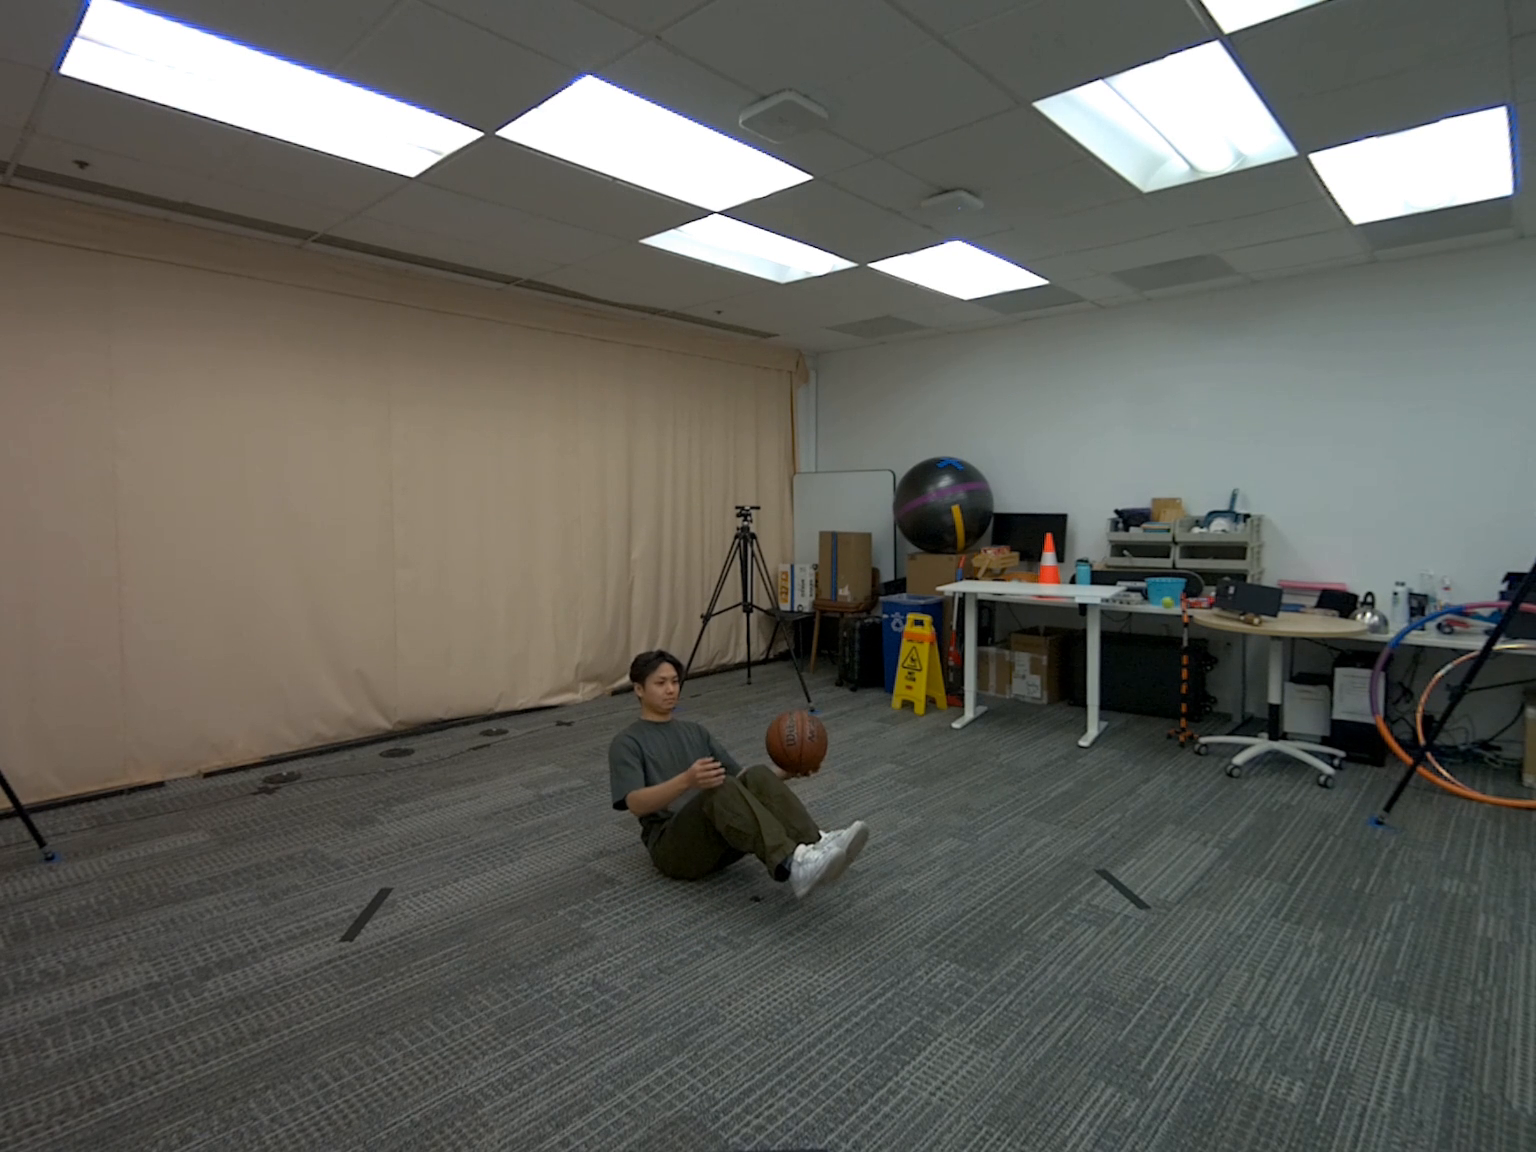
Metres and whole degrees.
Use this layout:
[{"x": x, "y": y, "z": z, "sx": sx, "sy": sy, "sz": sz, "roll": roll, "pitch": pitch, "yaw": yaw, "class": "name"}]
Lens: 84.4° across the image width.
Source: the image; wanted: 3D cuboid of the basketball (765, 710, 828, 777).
[{"x": 0.102, "y": 0.643, "z": 3.207, "sx": 0.236, "sy": 0.235, "sz": 0.237, "roll": 0, "pitch": 4, "yaw": -2, "class": "basketball"}]
